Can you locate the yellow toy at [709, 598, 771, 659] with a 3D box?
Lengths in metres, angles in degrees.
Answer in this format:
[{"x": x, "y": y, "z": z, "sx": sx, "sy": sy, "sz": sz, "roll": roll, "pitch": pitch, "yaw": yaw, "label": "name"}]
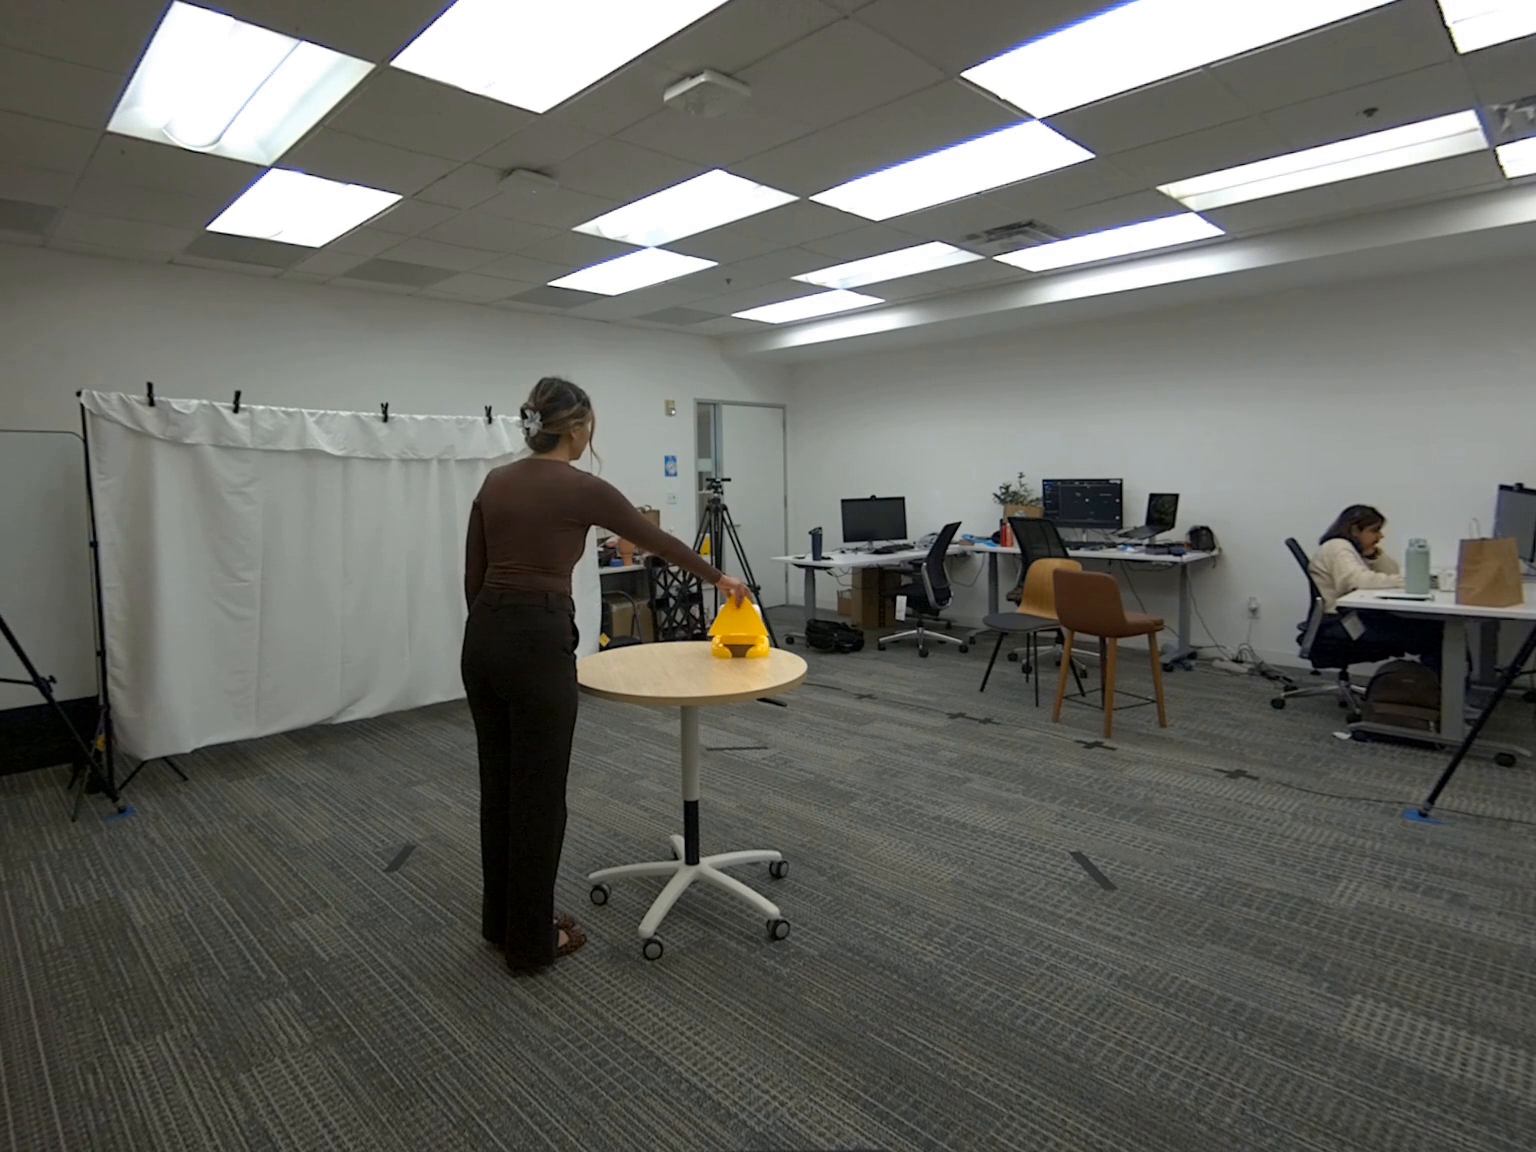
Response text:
[{"x": -0.093, "y": 0.149, "z": 2.925, "sx": 0.206, "sy": 0.230, "sz": 0.193, "roll": 0, "pitch": 5, "yaw": 4, "label": "yellow toy"}]
